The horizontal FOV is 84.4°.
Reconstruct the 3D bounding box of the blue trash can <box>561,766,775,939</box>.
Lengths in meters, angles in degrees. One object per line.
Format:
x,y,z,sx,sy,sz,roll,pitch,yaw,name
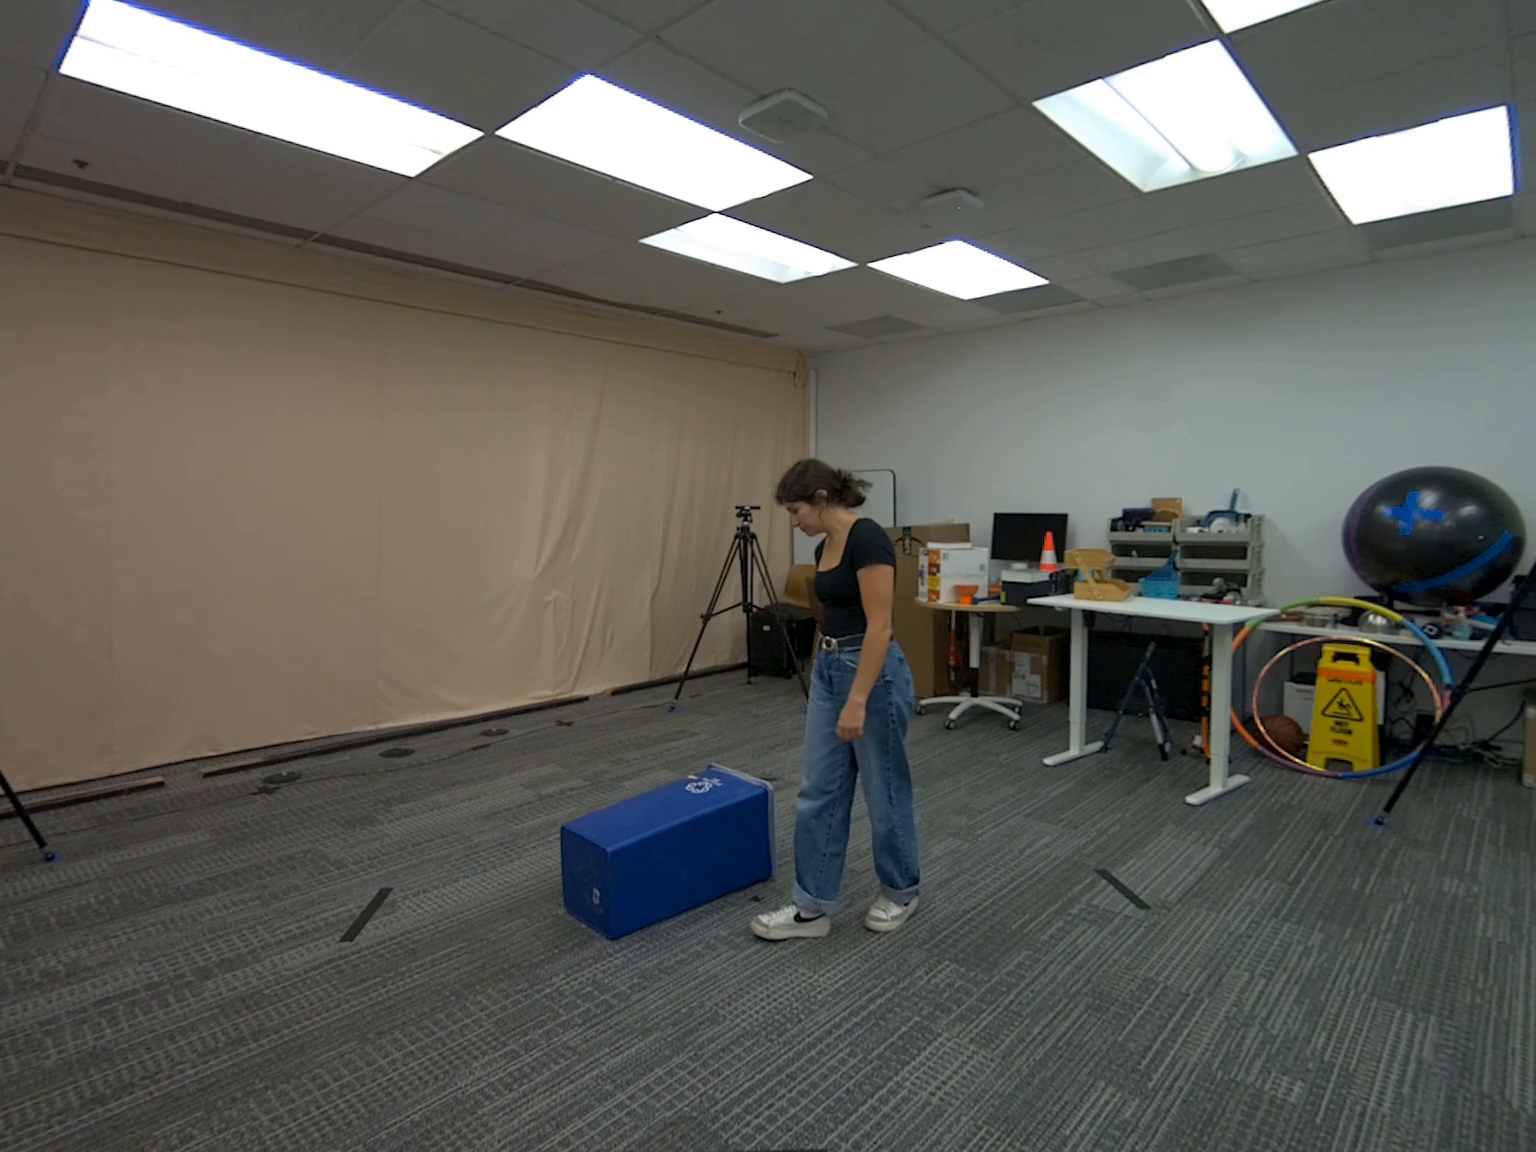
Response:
-0.346,0.976,3.013,0.693,0.376,0.386,-8,9,-42,blue trash can
